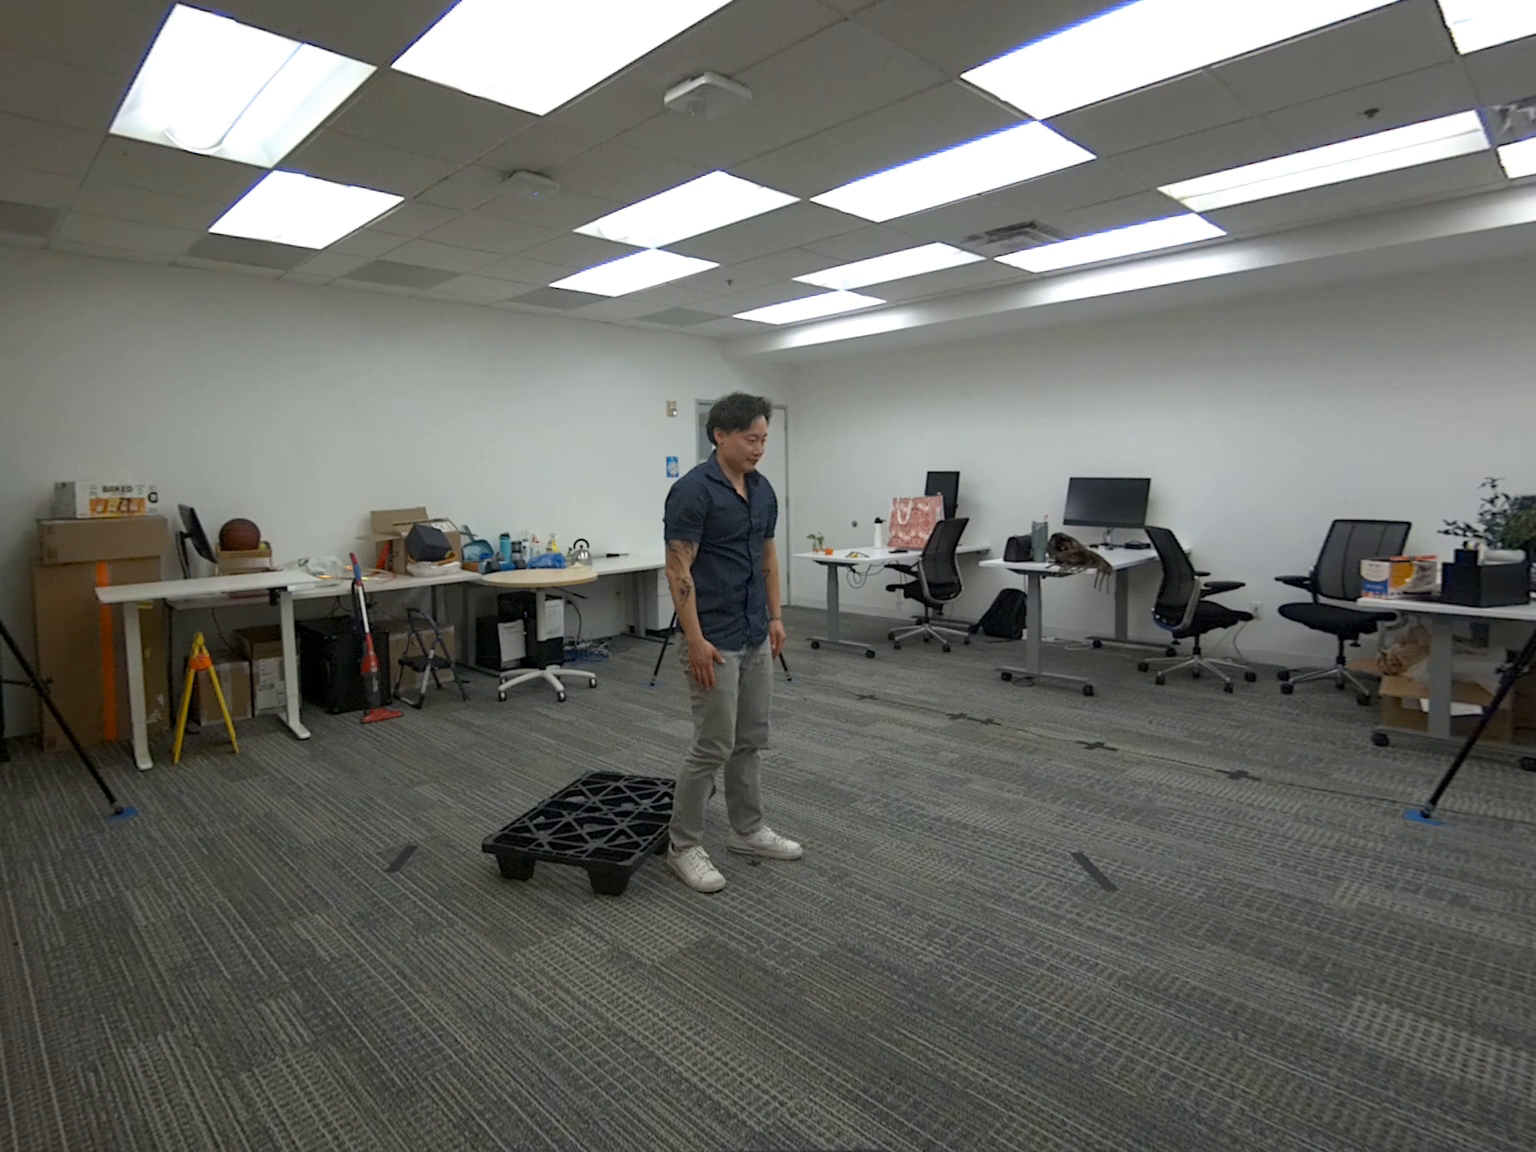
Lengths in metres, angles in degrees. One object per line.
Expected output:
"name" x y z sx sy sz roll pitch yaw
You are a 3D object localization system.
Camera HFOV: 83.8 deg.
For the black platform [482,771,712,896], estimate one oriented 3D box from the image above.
"black platform" -0.607 0.965 3.291 0.617 0.142 0.794 1 7 19
